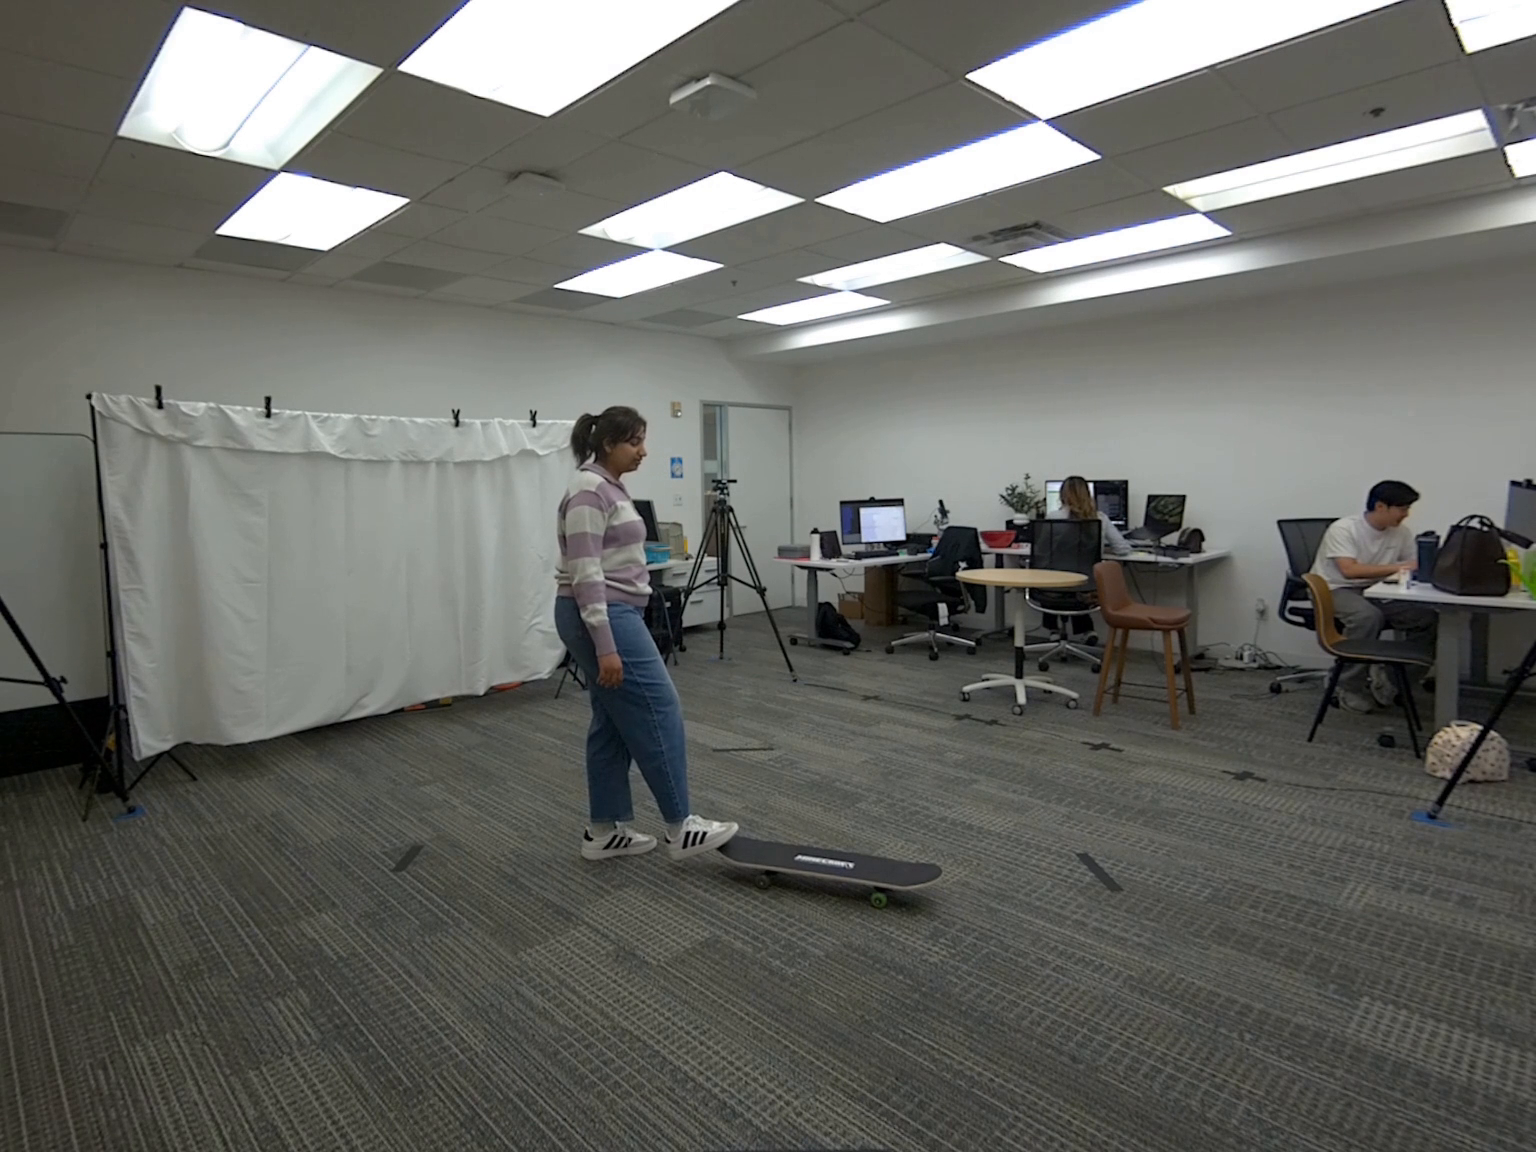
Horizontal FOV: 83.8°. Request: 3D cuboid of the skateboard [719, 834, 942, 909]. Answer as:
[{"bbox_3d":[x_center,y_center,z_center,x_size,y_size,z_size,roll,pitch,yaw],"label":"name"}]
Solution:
[{"bbox_3d":[0.197,1.003,2.913,0.801,0.110,0.190,1,6,21],"label":"skateboard"}]
